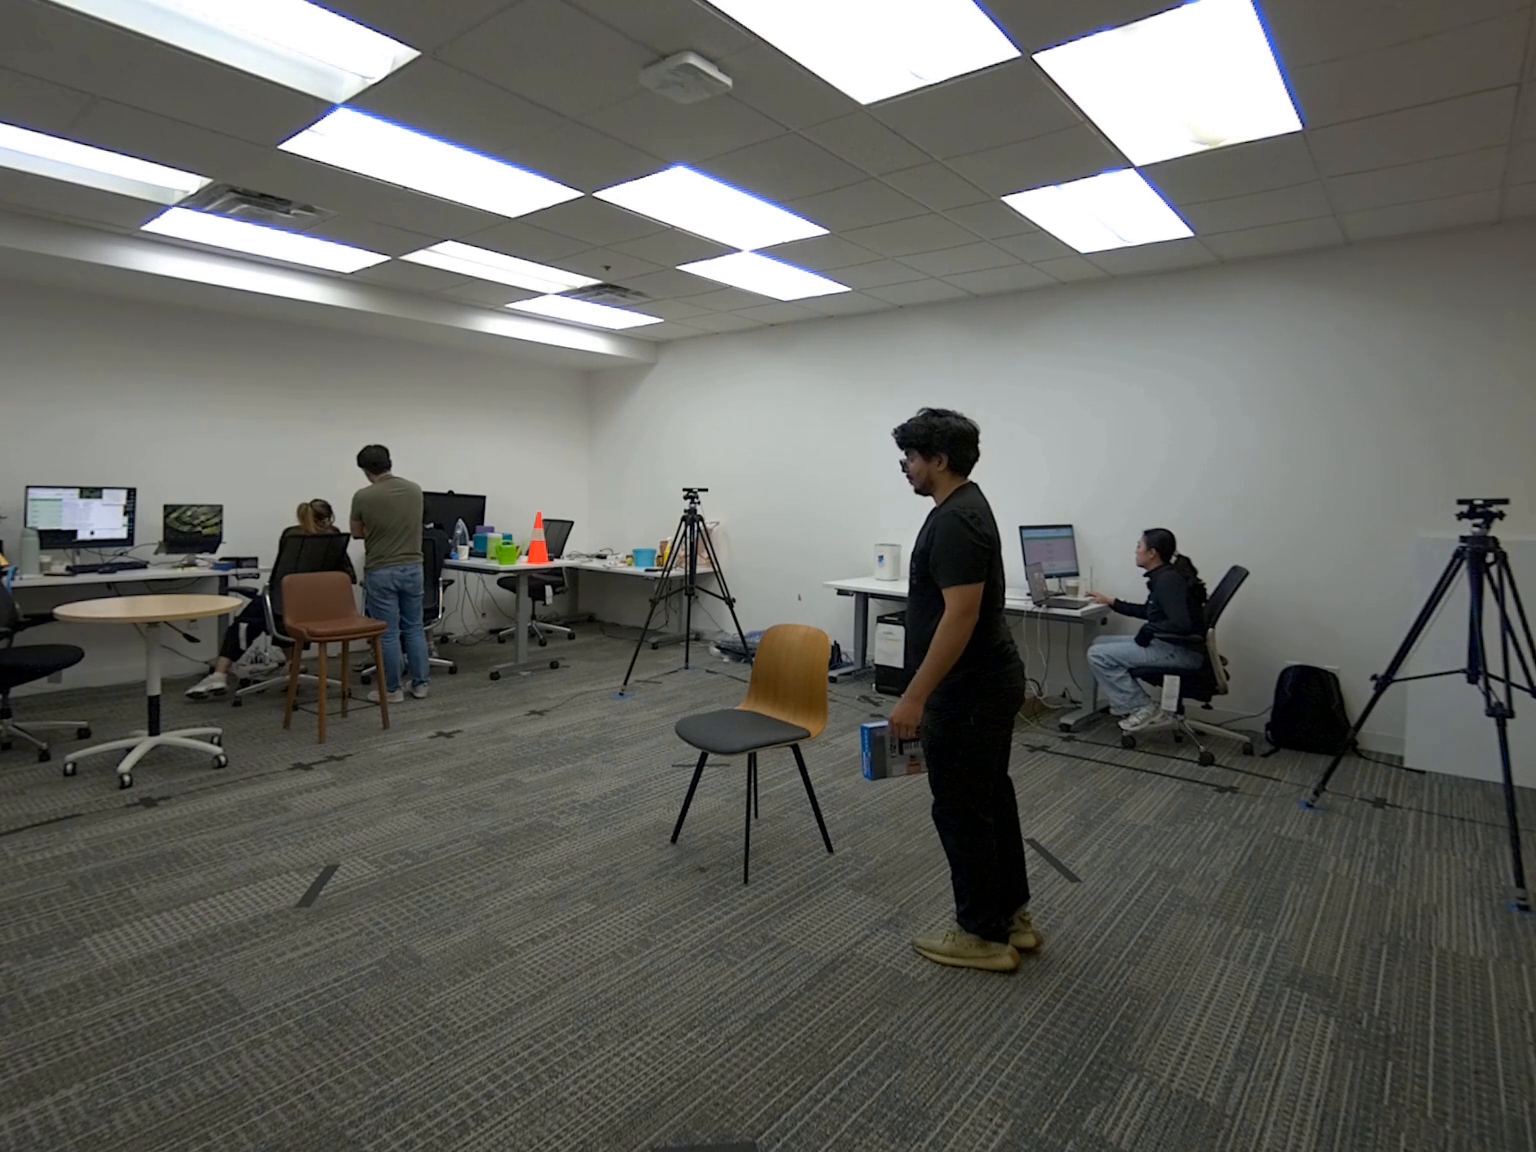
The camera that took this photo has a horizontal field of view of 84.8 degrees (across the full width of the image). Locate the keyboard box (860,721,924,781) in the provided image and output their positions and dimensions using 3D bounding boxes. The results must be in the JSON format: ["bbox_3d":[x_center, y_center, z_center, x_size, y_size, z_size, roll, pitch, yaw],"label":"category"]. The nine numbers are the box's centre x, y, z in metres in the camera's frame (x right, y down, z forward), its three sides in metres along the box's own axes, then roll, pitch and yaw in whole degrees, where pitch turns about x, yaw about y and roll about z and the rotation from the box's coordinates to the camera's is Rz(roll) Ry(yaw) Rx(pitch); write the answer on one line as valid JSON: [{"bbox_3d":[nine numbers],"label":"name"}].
[{"bbox_3d":[0.517,0.552,2.811,0.428,0.176,0.060,-4,0,-20],"label":"keyboard box"}]
